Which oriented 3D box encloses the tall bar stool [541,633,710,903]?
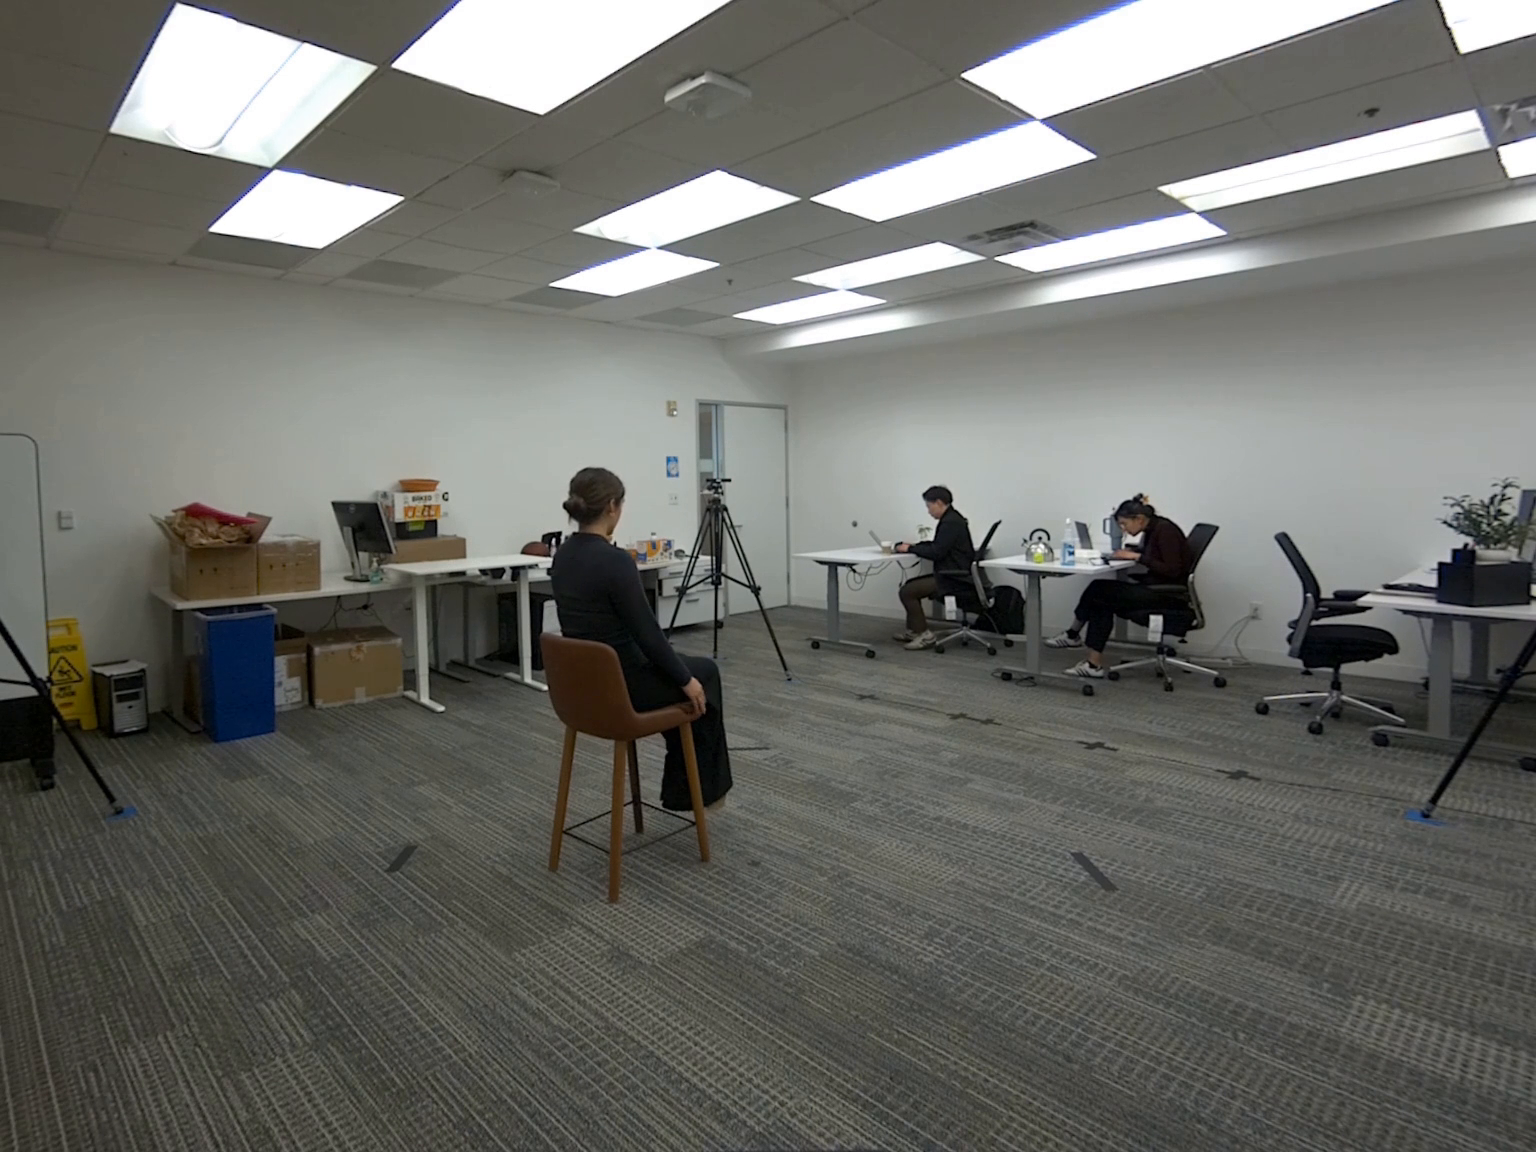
[{"bbox_3d":[-0.528,0.621,3.080,0.470,0.885,0.456,2,7,43],"label":"tall bar stool"}]
